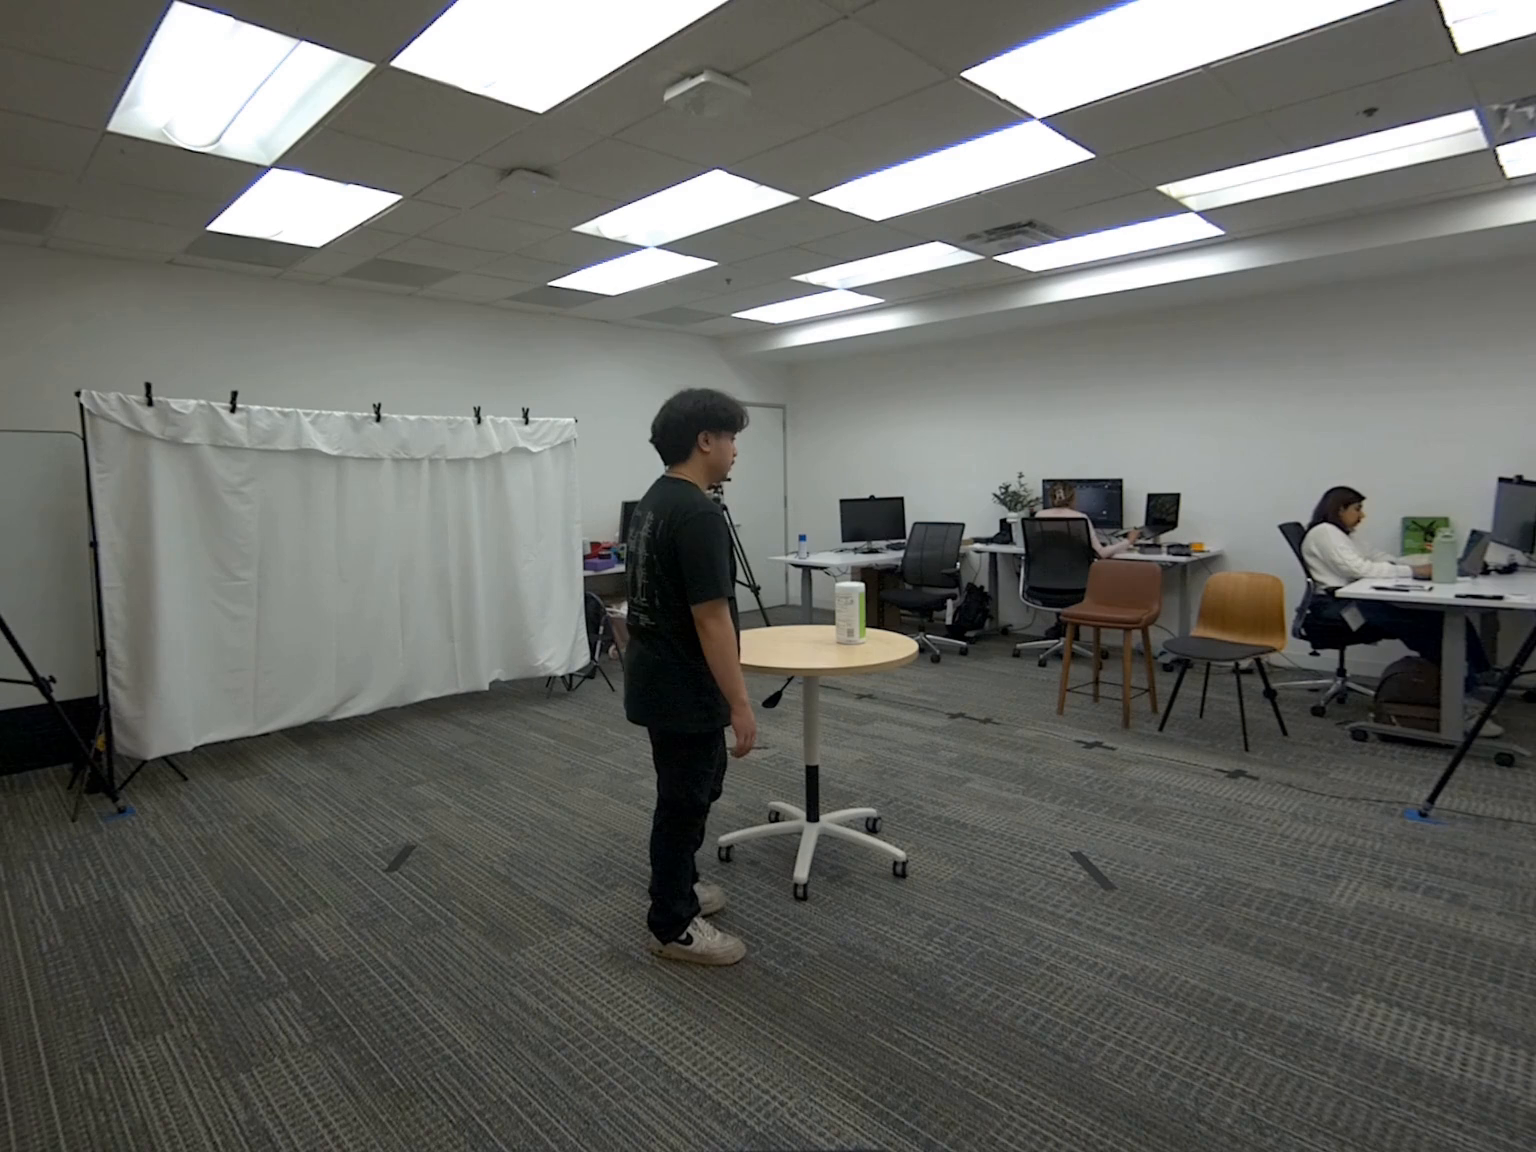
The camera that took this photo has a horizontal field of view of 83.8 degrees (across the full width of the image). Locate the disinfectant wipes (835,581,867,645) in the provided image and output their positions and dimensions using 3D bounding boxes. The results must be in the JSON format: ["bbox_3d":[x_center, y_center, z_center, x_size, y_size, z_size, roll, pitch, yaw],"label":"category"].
[{"bbox_3d":[0.298,0.134,3.103,0.118,0.216,0.118,-1,4,-2],"label":"disinfectant wipes"}]
